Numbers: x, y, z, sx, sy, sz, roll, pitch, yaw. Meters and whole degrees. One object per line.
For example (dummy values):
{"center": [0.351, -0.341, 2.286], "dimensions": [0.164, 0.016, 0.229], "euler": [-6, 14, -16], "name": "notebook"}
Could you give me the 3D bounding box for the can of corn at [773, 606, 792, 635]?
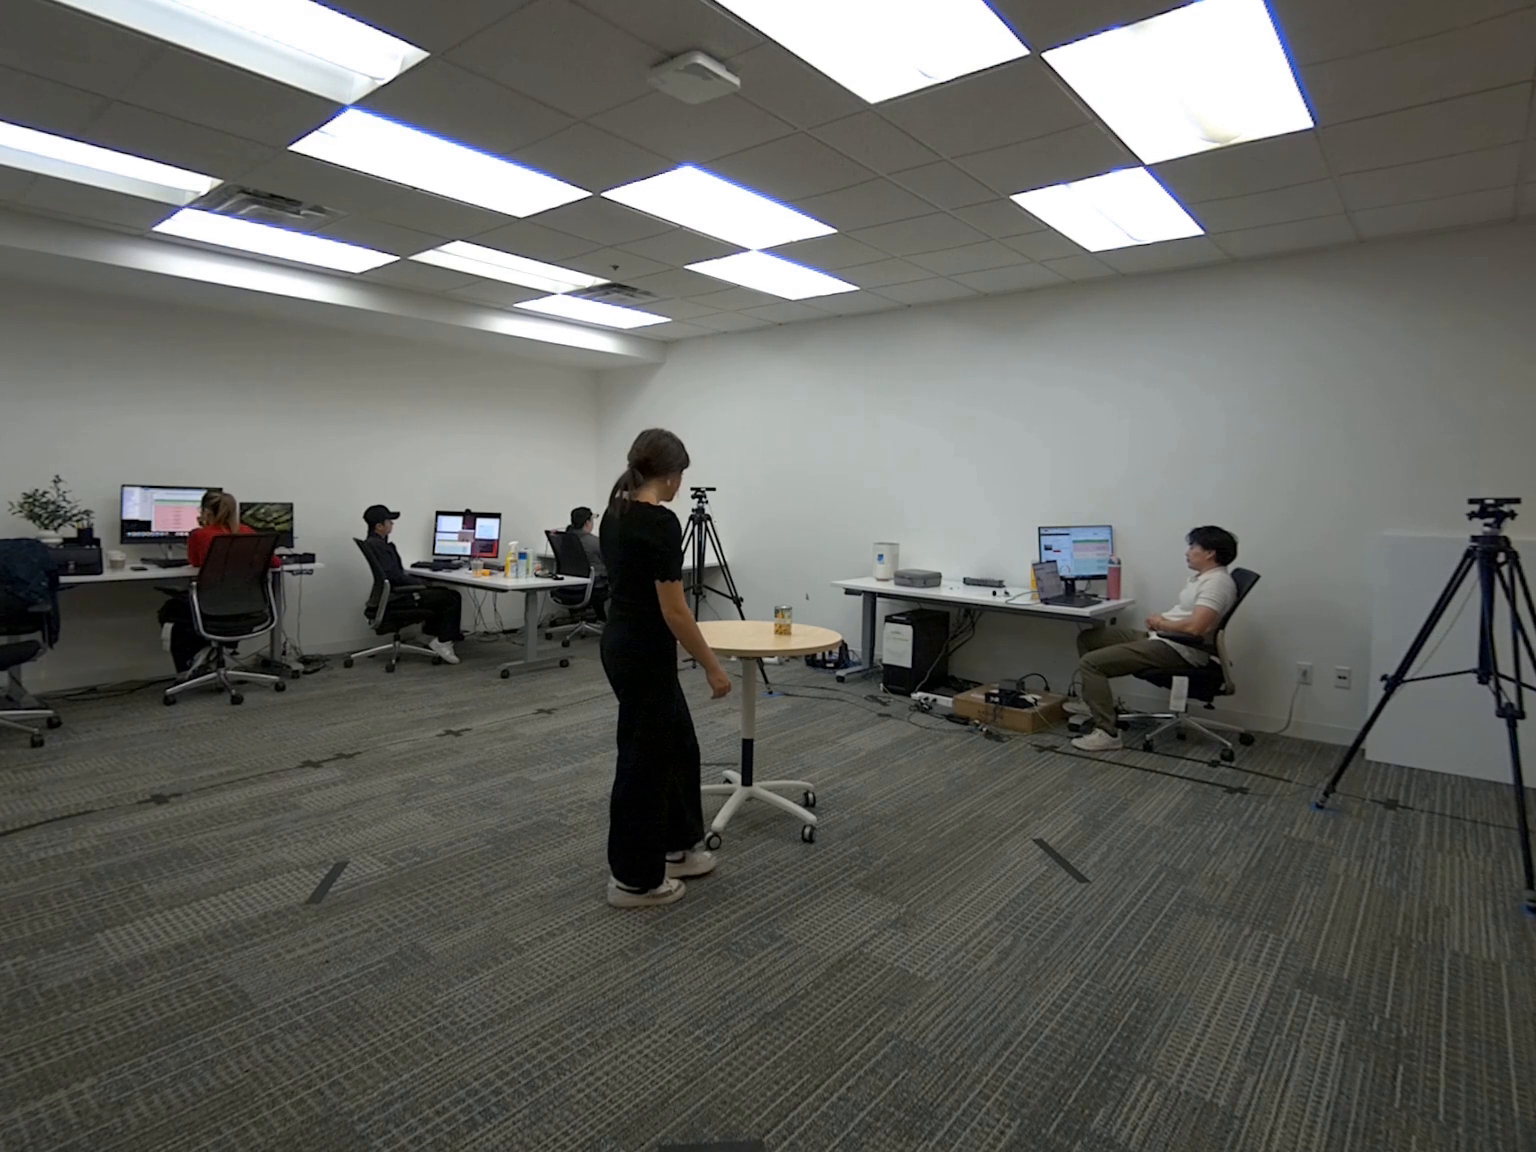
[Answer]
{"center": [0.057, 0.185, 3.589], "dimensions": [0.074, 0.111, 0.074], "euler": [2, 2, -2], "name": "can of corn"}
